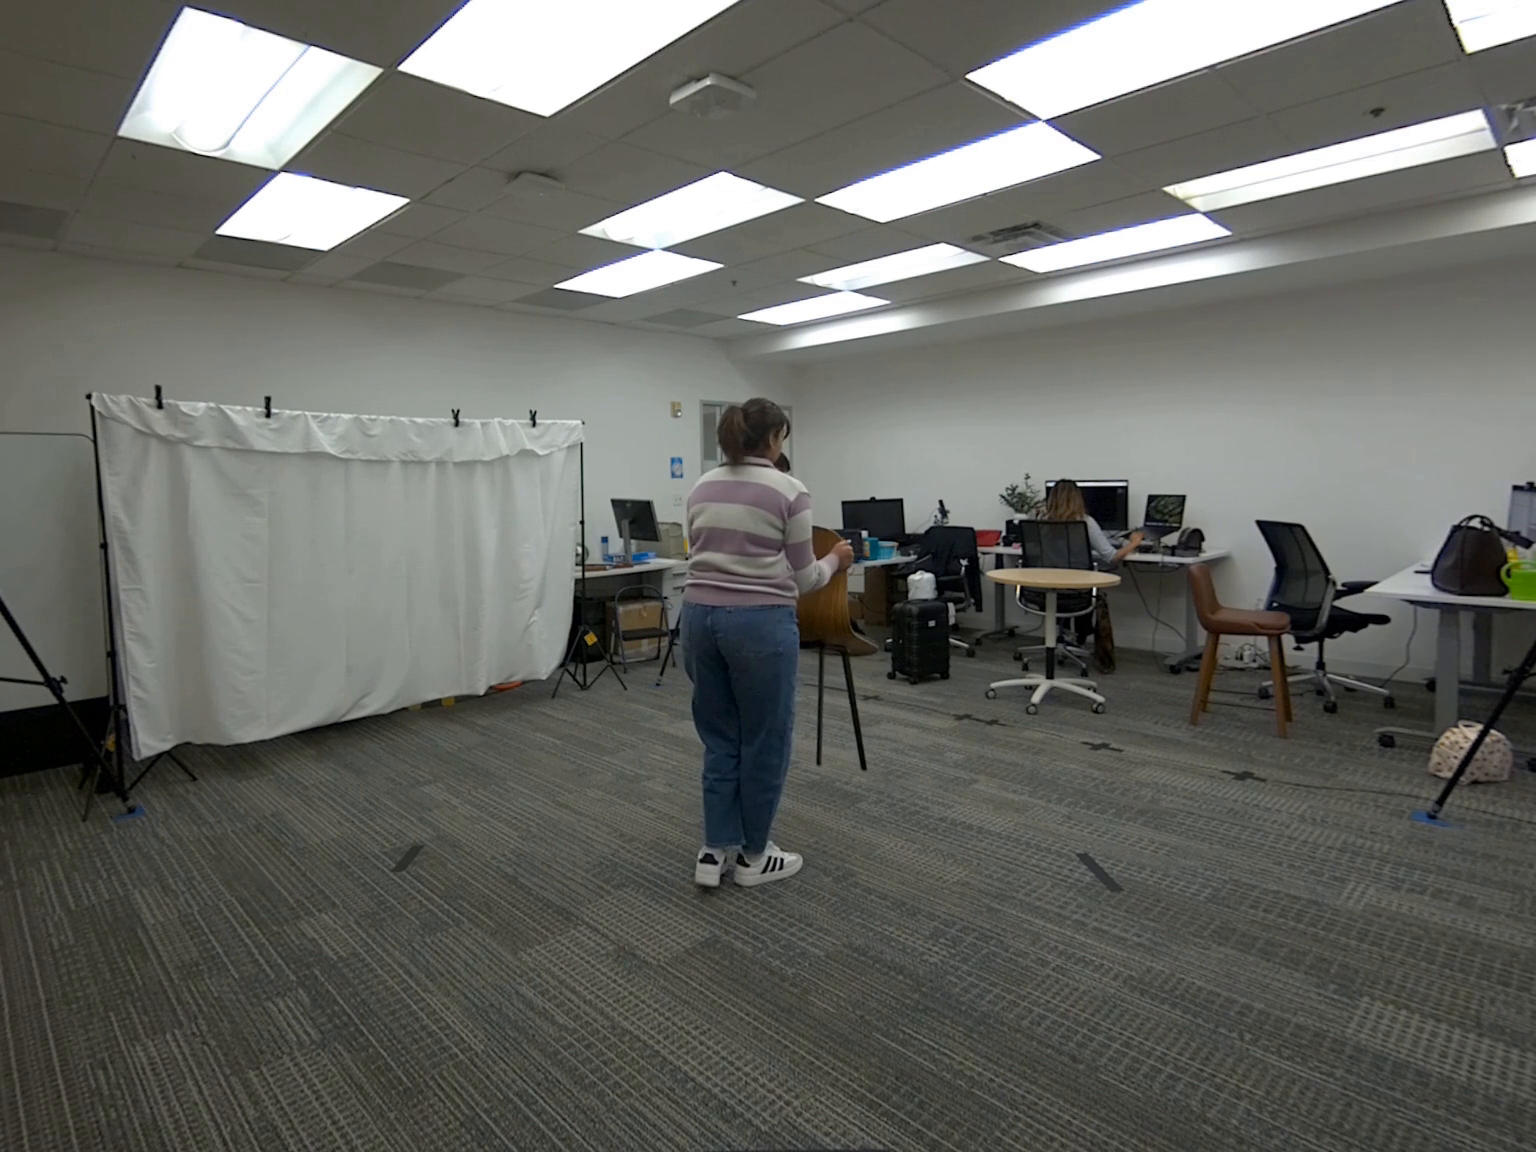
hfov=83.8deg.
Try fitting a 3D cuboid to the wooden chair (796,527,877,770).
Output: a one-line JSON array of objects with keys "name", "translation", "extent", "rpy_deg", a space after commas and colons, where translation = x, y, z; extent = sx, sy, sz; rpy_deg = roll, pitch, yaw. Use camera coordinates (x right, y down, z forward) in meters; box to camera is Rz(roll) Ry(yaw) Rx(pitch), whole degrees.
[{"name": "wooden chair", "translation": [0.148, 0.278, 3.314], "extent": [0.491, 0.883, 0.506], "rpy_deg": [2, -9, 29]}]
